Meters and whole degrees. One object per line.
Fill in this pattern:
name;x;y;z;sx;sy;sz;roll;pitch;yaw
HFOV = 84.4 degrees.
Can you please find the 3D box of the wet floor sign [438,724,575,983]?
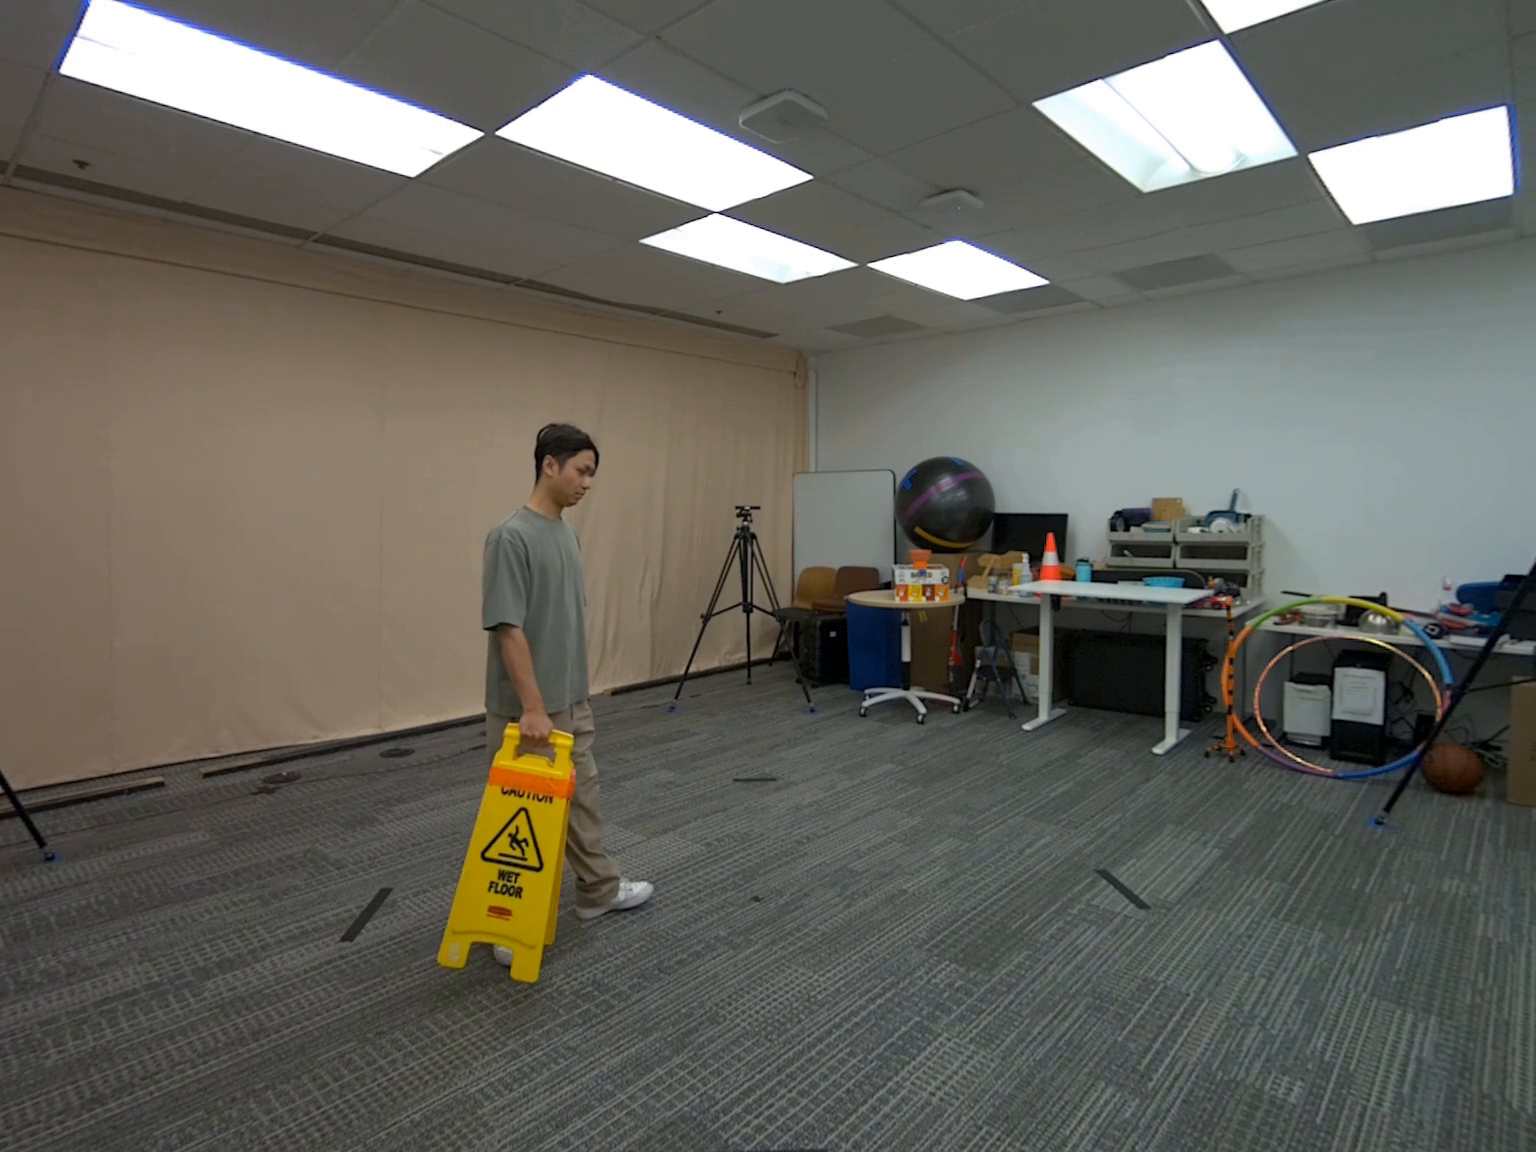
wet floor sign;-0.715;0.762;2.410;0.282;0.646;0.289;10;-1;-1
